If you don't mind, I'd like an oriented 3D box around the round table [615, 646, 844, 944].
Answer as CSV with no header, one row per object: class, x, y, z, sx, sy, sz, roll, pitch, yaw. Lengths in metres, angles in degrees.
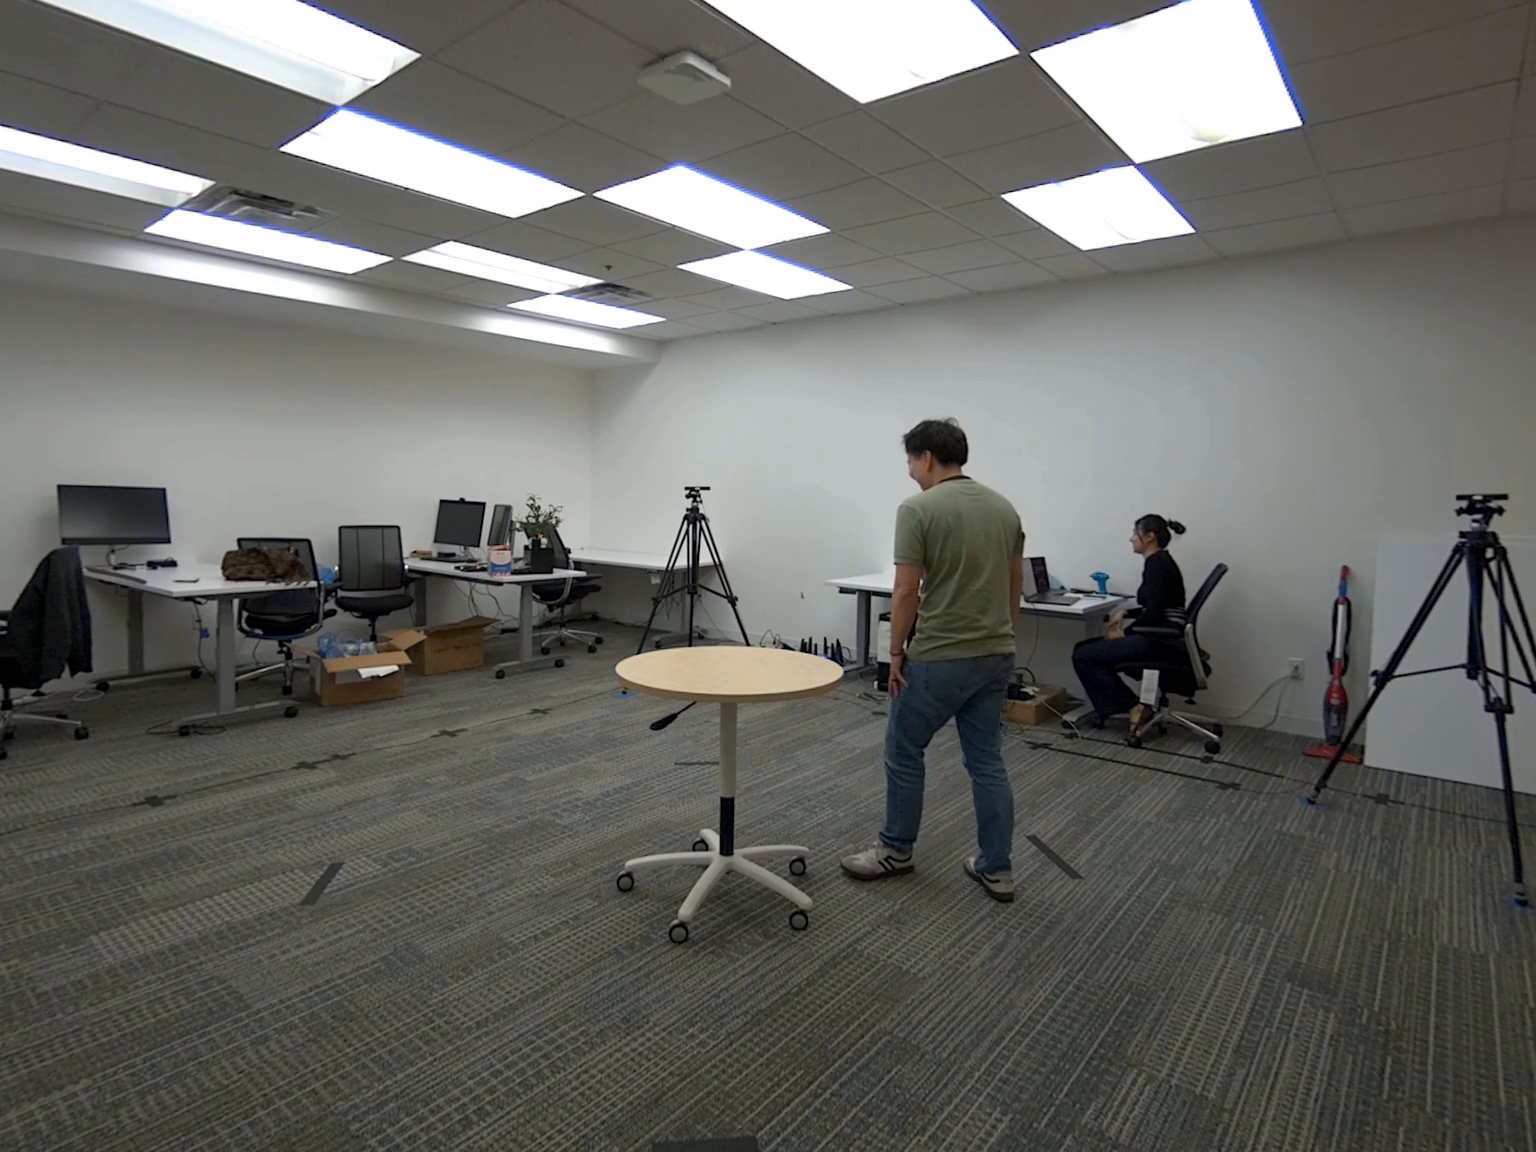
round table,-0.147,0.699,2.894,0.763,0.791,0.768,1,4,-2
